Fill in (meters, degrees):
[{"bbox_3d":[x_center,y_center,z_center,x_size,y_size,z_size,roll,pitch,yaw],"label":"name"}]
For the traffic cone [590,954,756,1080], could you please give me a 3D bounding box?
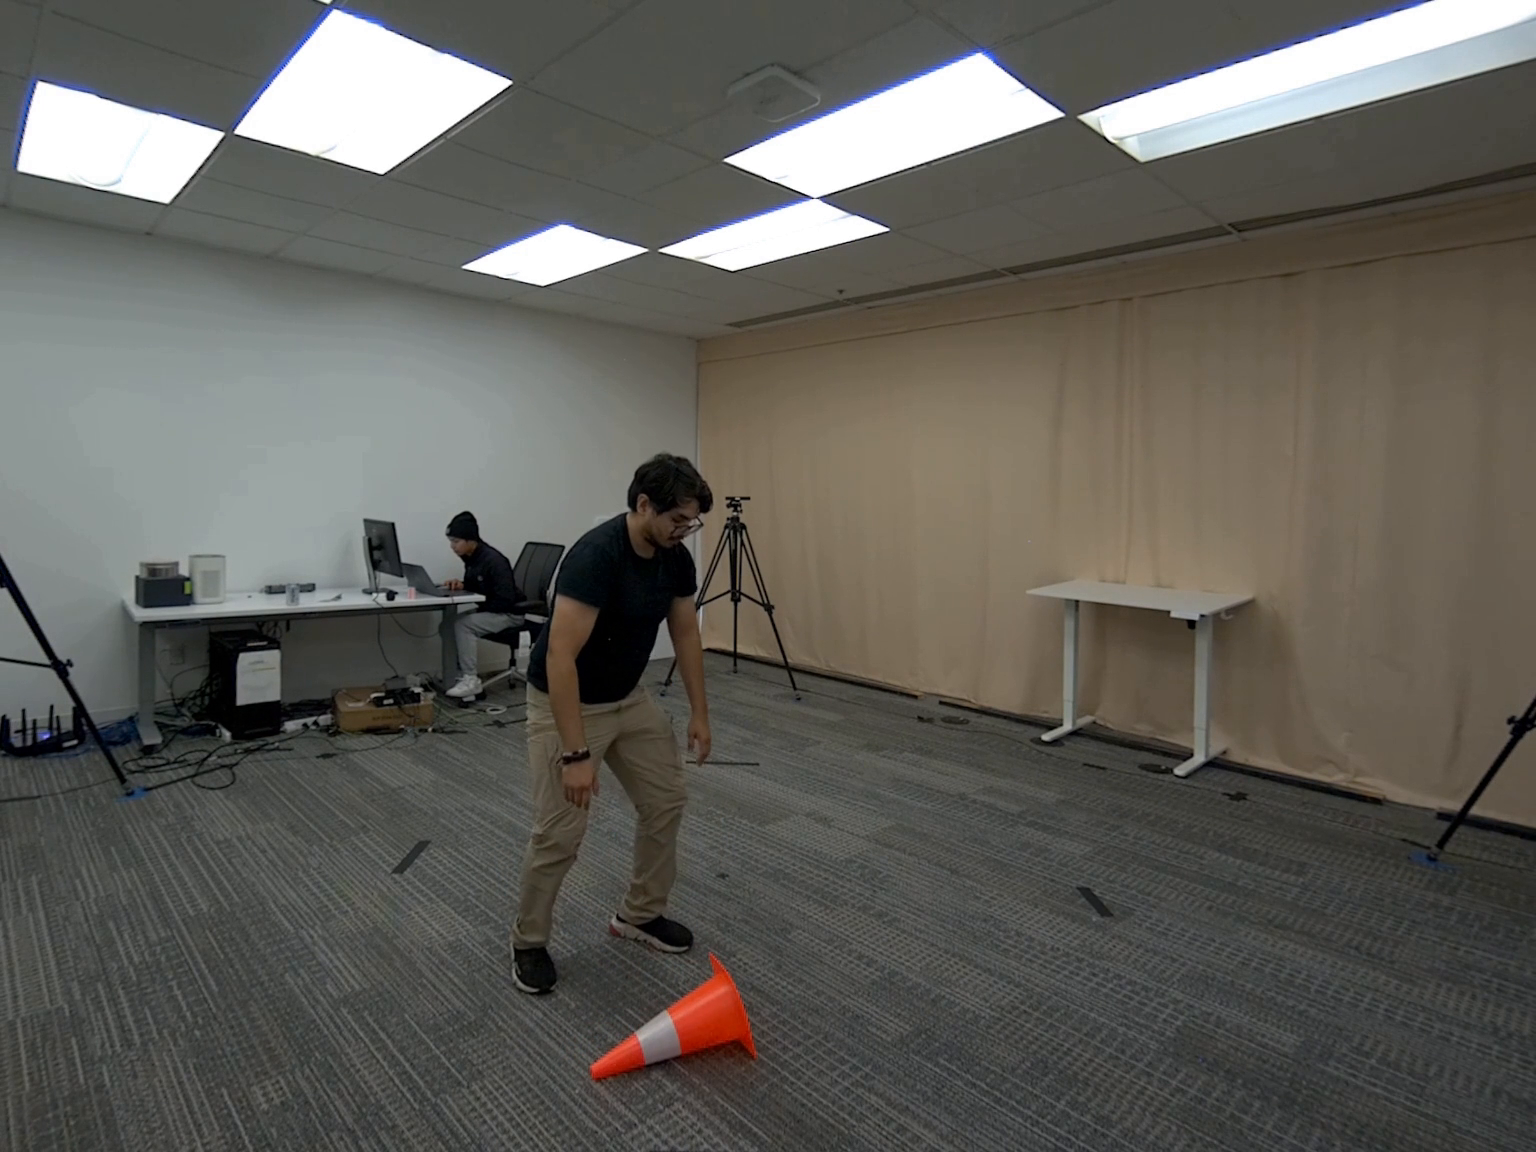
[{"bbox_3d":[-0.261,1.157,2.074,0.379,0.201,0.209,-16,12,-23],"label":"traffic cone"}]
